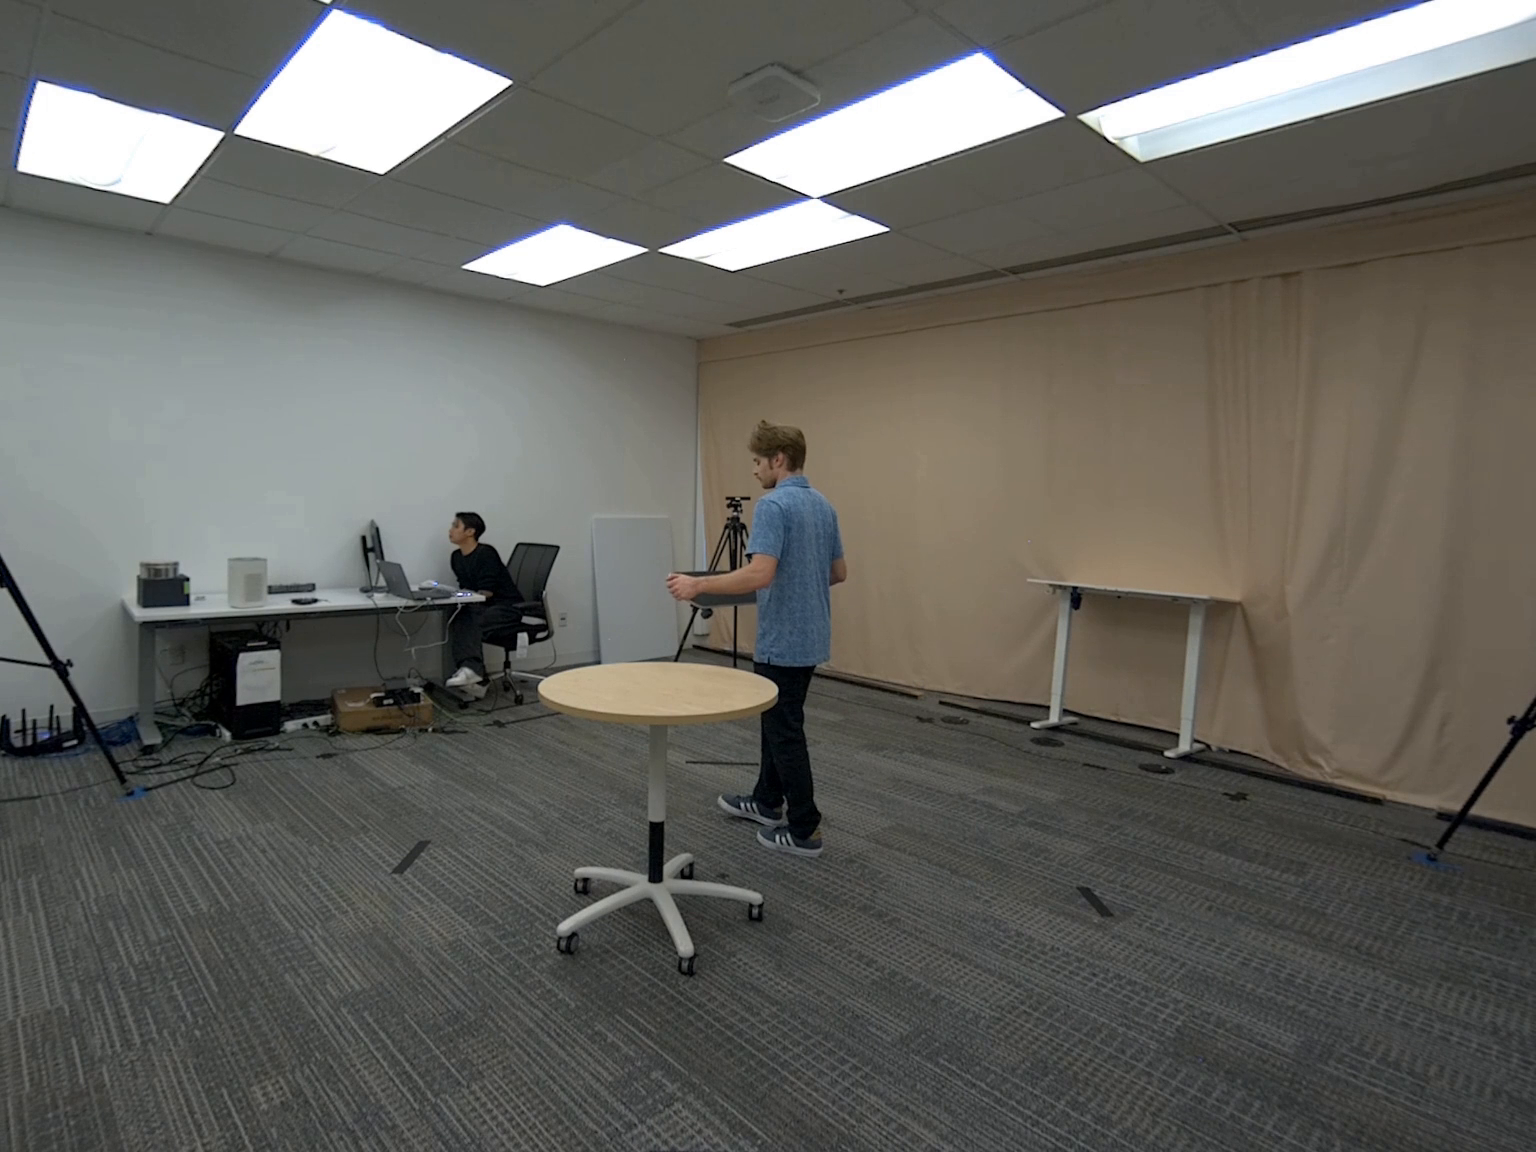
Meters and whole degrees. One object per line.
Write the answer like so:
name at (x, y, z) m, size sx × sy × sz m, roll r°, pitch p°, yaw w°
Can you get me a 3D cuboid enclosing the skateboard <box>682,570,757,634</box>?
skateboard at (-0.151, 0.078, 3.541) m, size 0.767 × 0.110 × 0.198 m, roll -1°, pitch 44°, yaw -53°
